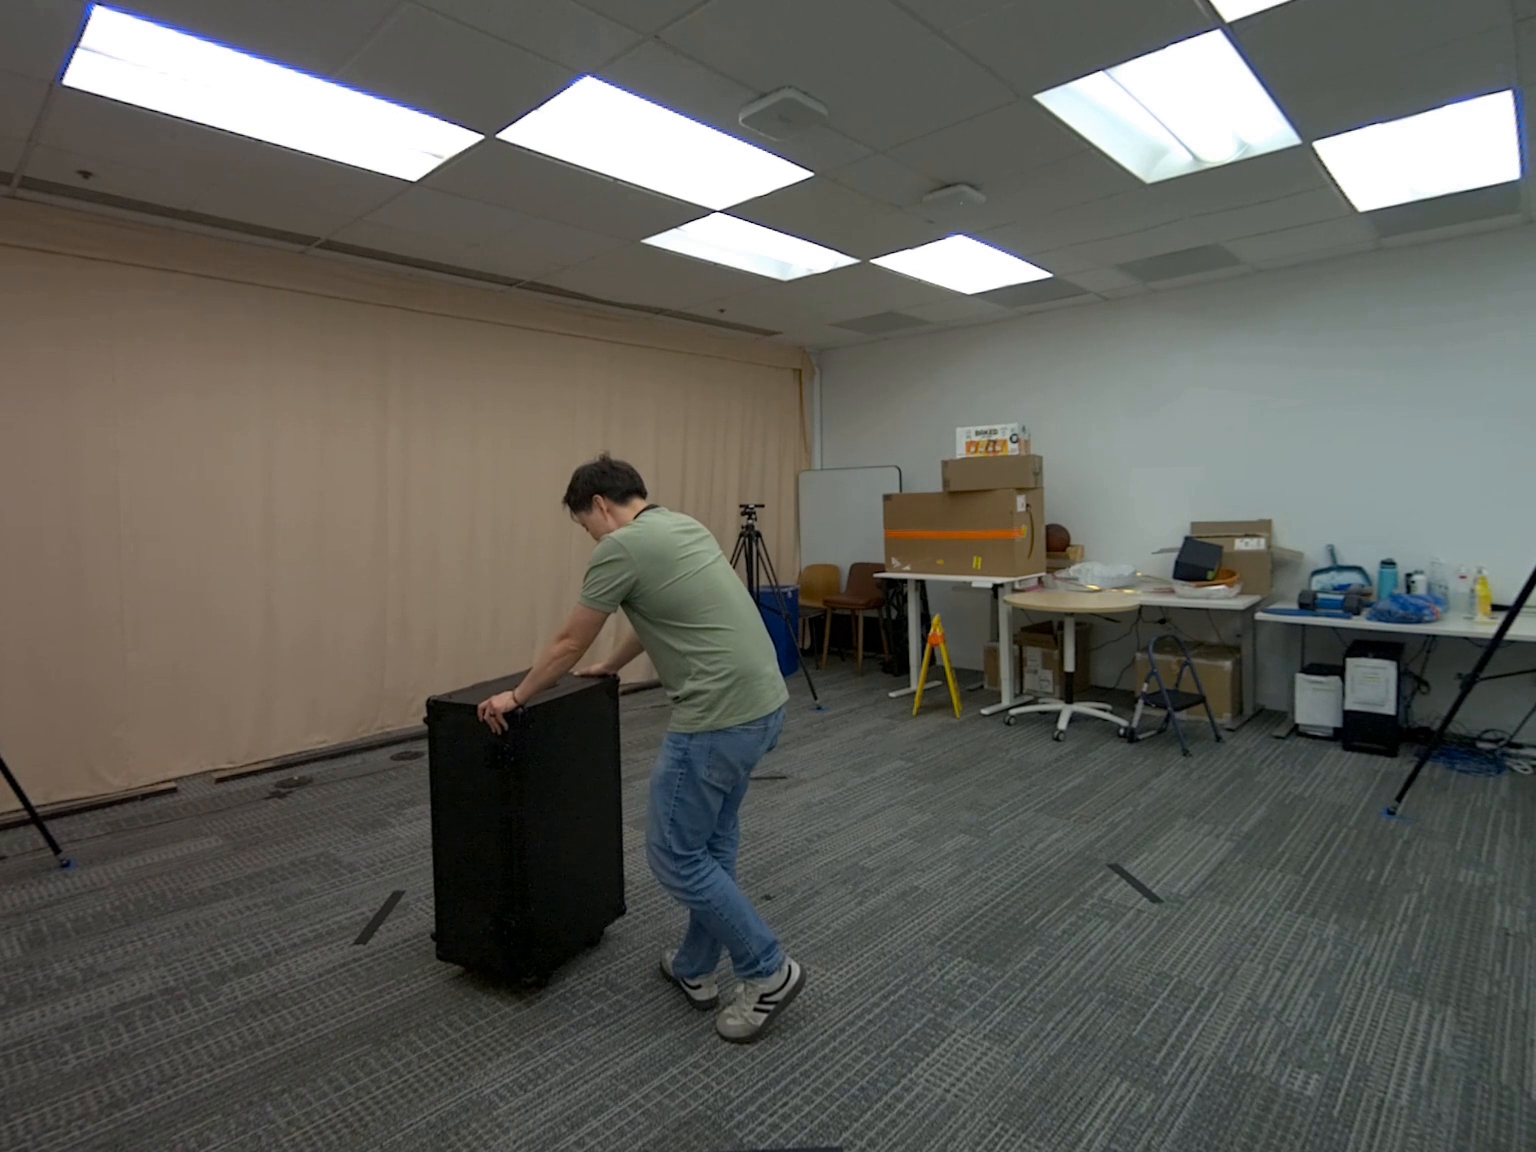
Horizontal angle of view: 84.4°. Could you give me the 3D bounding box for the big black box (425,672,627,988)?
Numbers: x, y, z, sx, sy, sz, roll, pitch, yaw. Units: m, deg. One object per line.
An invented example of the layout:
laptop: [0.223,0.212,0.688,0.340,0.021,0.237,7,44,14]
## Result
big black box: [-0.742,0.762,2.598,0.407,0.860,0.508,0,3,27]
